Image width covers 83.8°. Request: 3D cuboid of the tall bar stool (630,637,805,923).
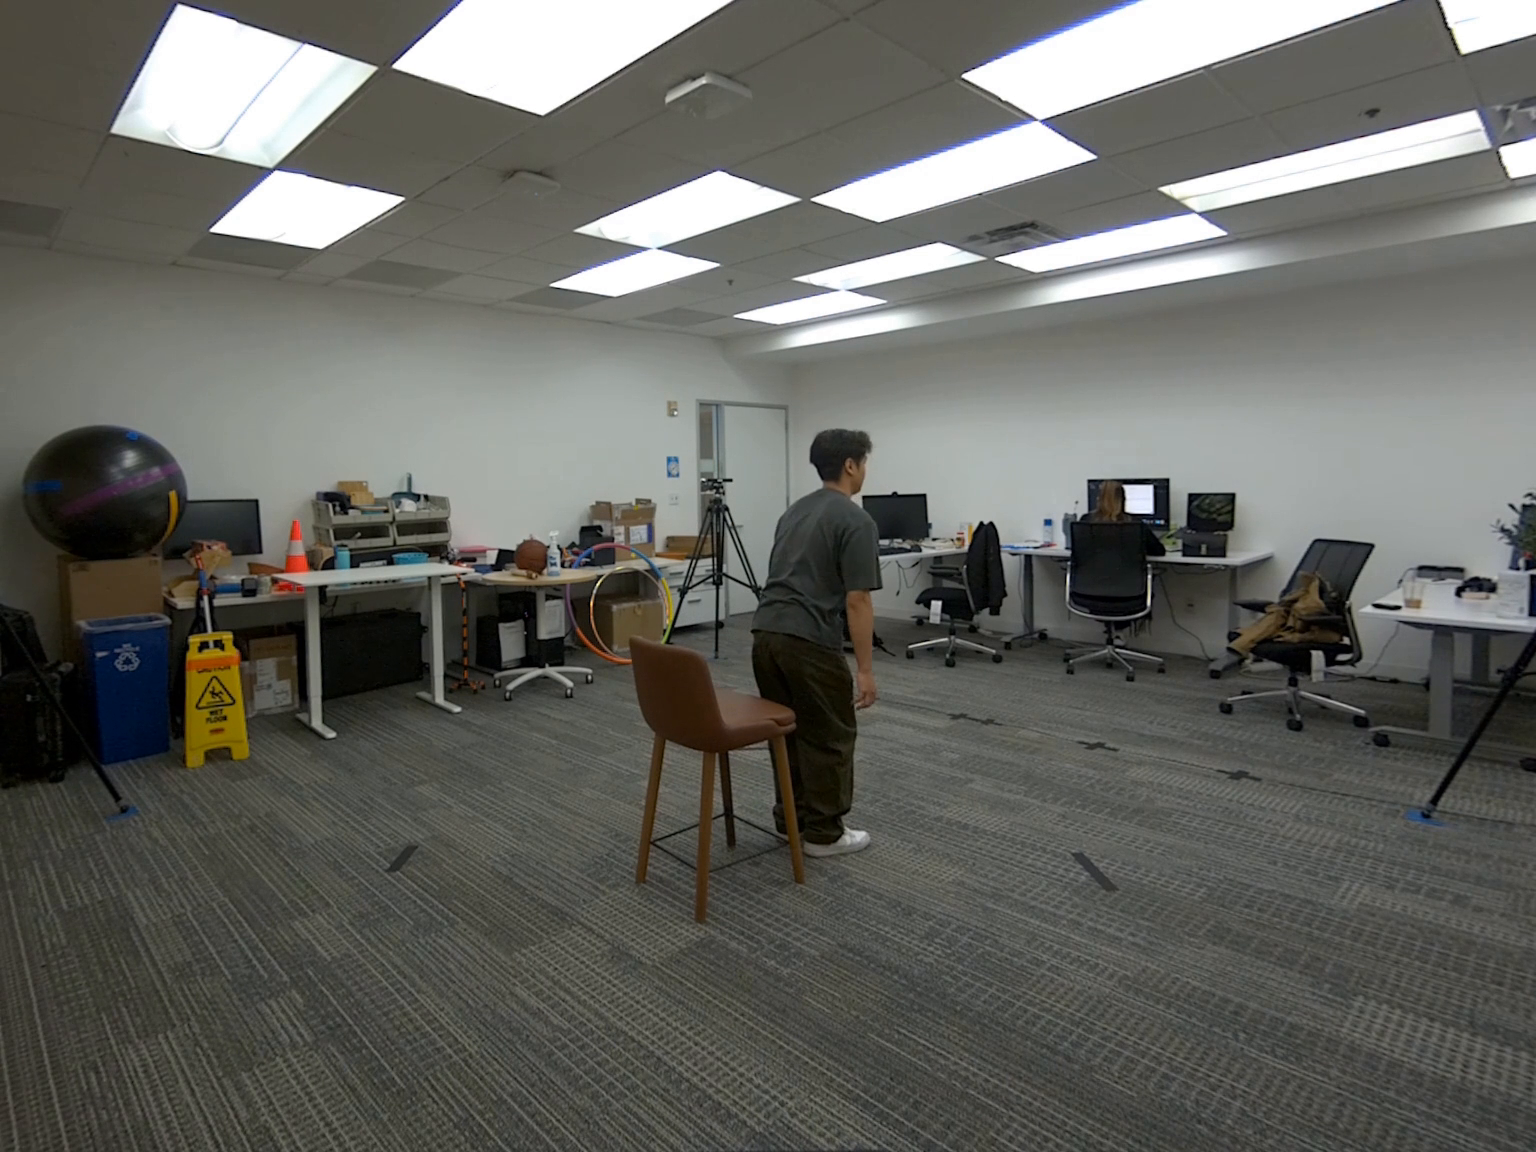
[{"bbox_3d":[-0.184,0.629,2.941,0.456,0.885,0.470,-7,8,-39],"label":"tall bar stool"}]
